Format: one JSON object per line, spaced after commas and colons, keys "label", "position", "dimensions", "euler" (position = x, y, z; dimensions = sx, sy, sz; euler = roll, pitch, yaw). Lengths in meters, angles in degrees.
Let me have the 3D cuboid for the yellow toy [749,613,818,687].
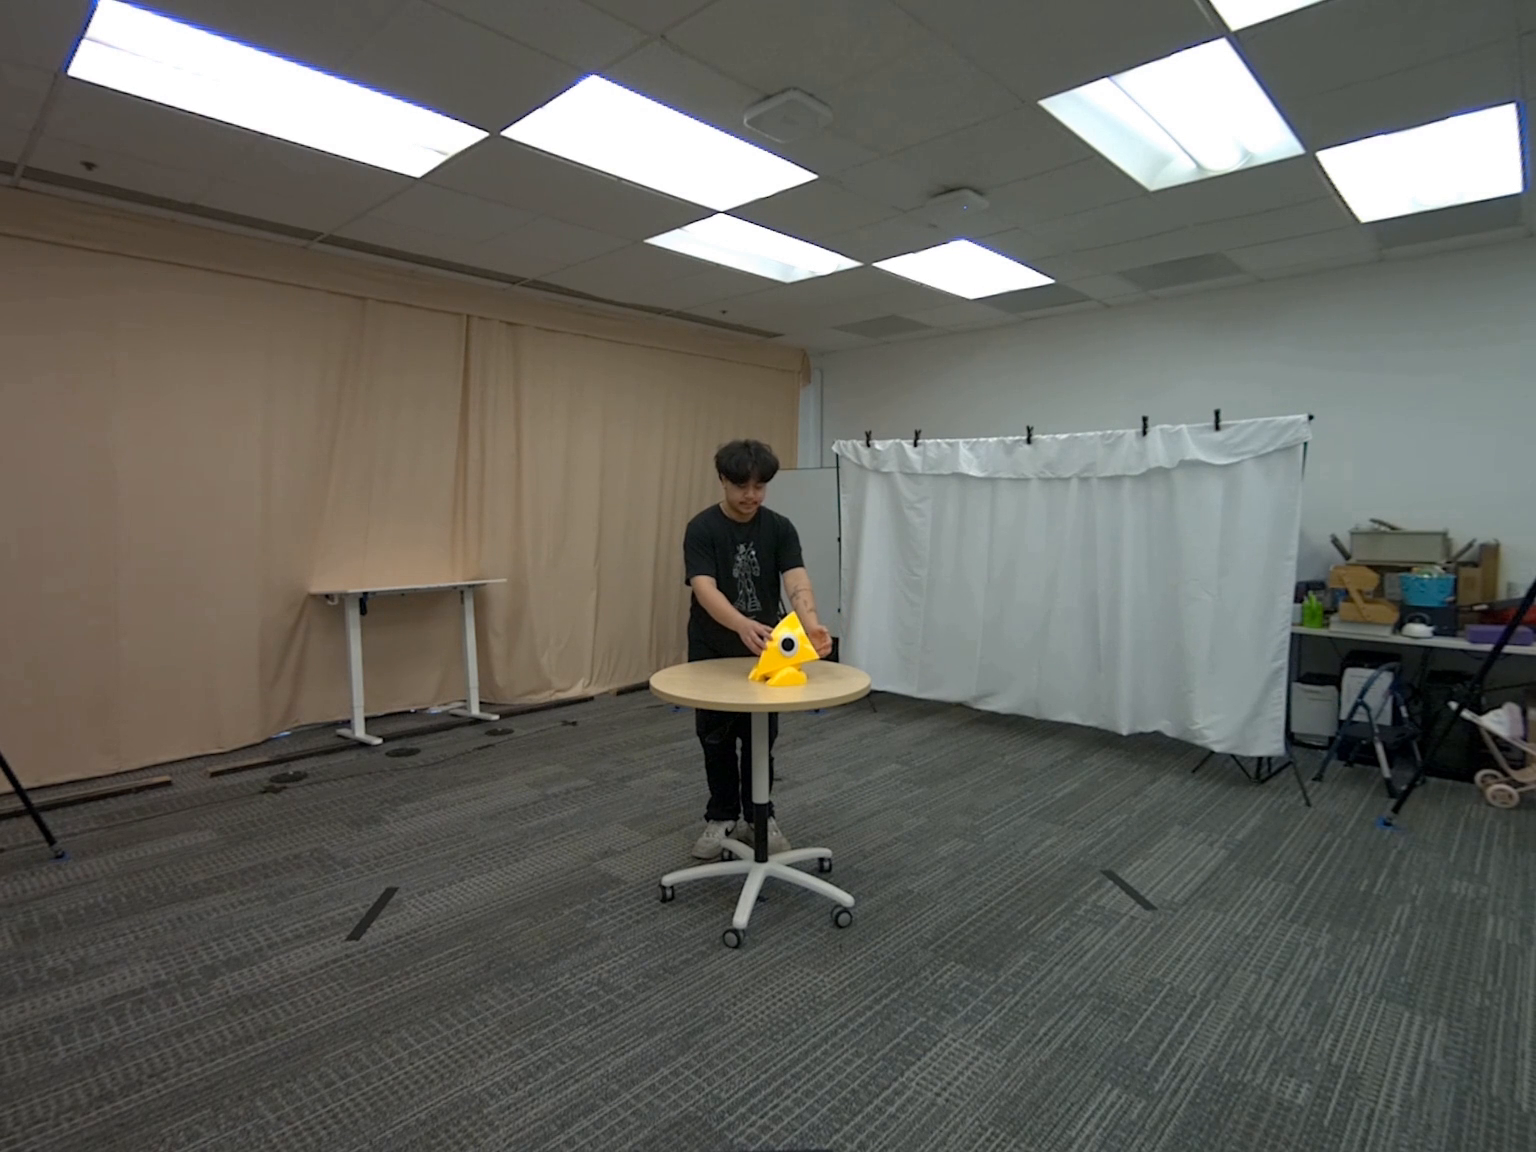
{"label": "yellow toy", "position": [0.043, 0.244, 2.893], "dimensions": [0.188, 0.230, 0.211], "euler": [-3, 5, -32]}
